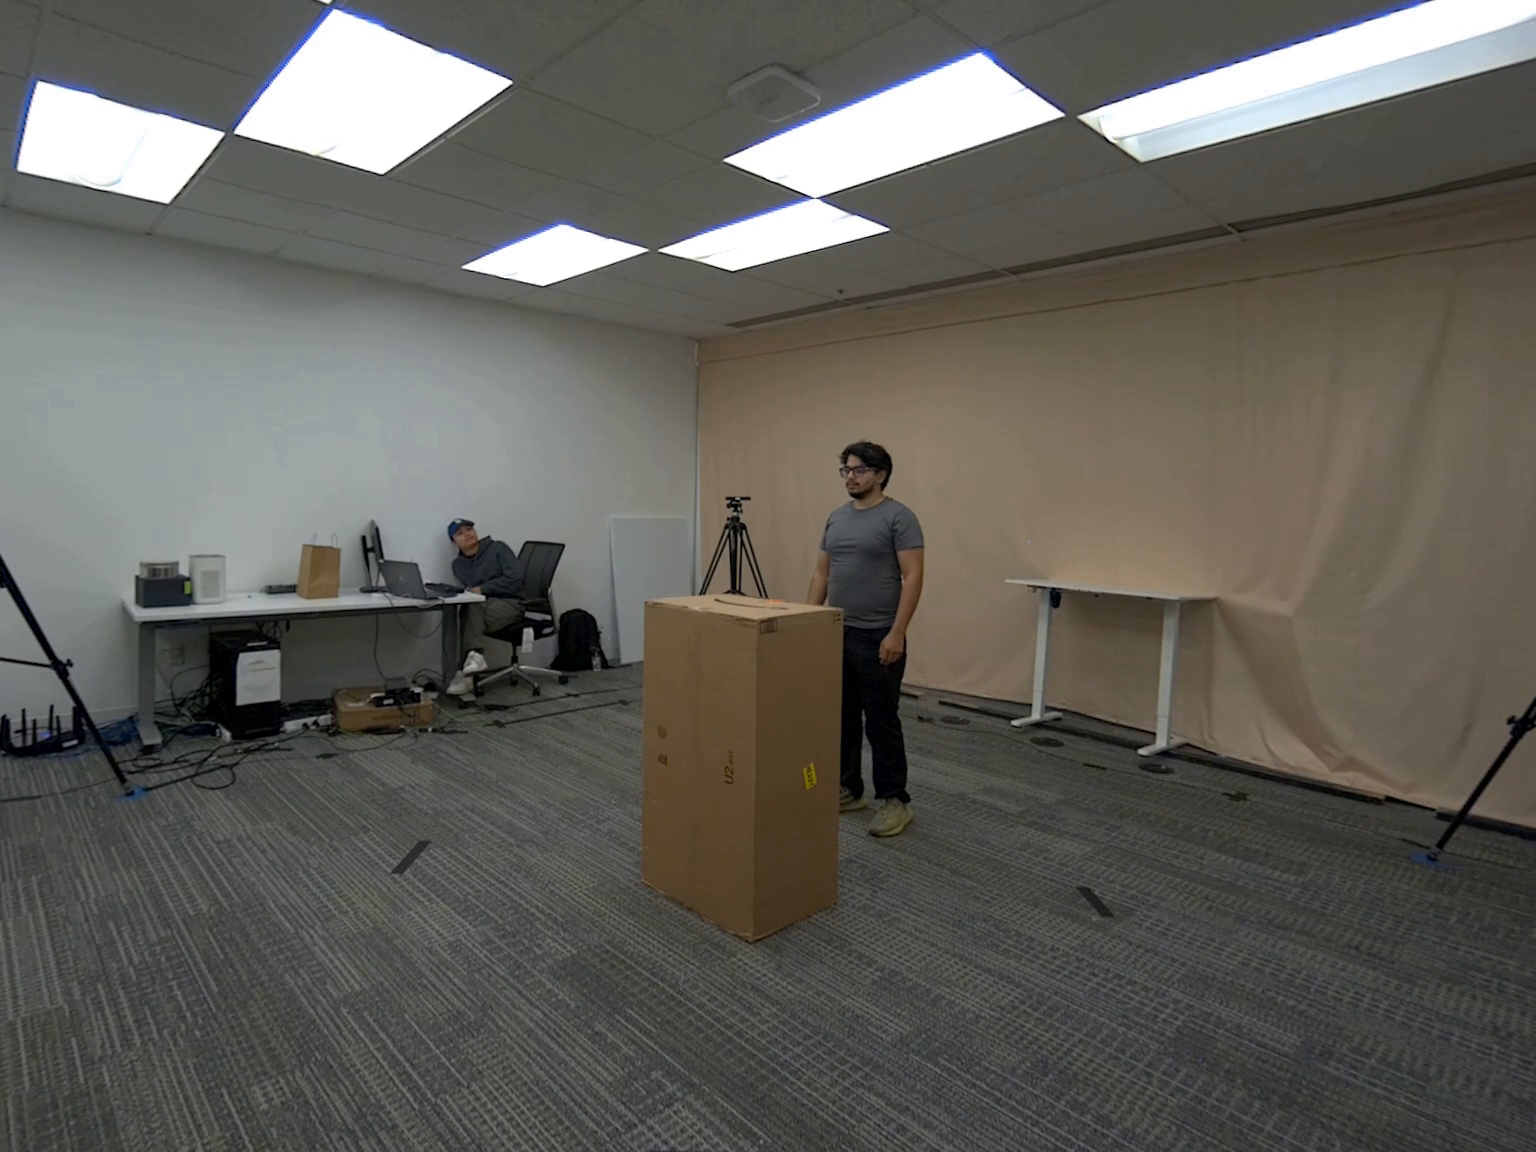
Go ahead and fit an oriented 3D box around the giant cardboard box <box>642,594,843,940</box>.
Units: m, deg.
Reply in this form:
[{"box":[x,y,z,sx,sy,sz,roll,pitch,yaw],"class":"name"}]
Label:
[{"box":[-0.105,0.611,2.959,0.416,1.023,0.592,-2,4,-44],"class":"giant cardboard box"}]
